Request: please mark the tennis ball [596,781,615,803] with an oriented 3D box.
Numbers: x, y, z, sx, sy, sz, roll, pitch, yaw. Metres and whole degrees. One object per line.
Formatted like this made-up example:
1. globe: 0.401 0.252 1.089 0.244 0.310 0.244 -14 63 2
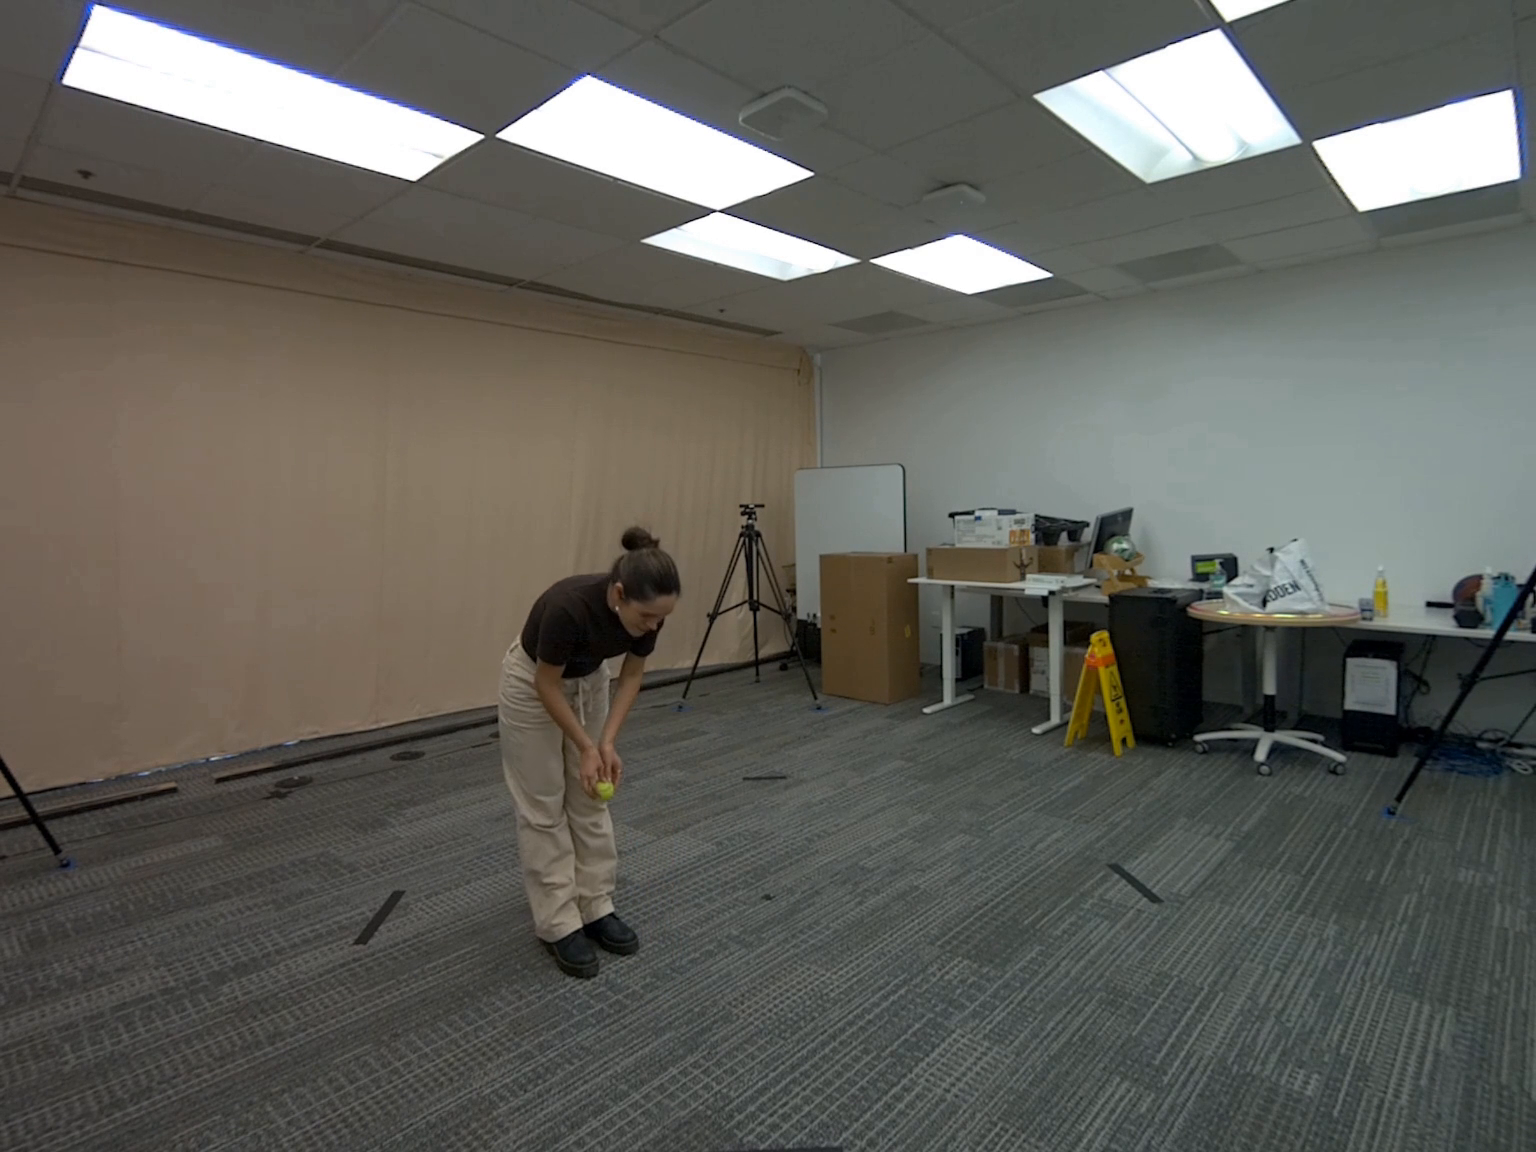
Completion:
1. tennis ball: -0.493 0.663 2.512 0.066 0.066 0.067 -1 4 -2
